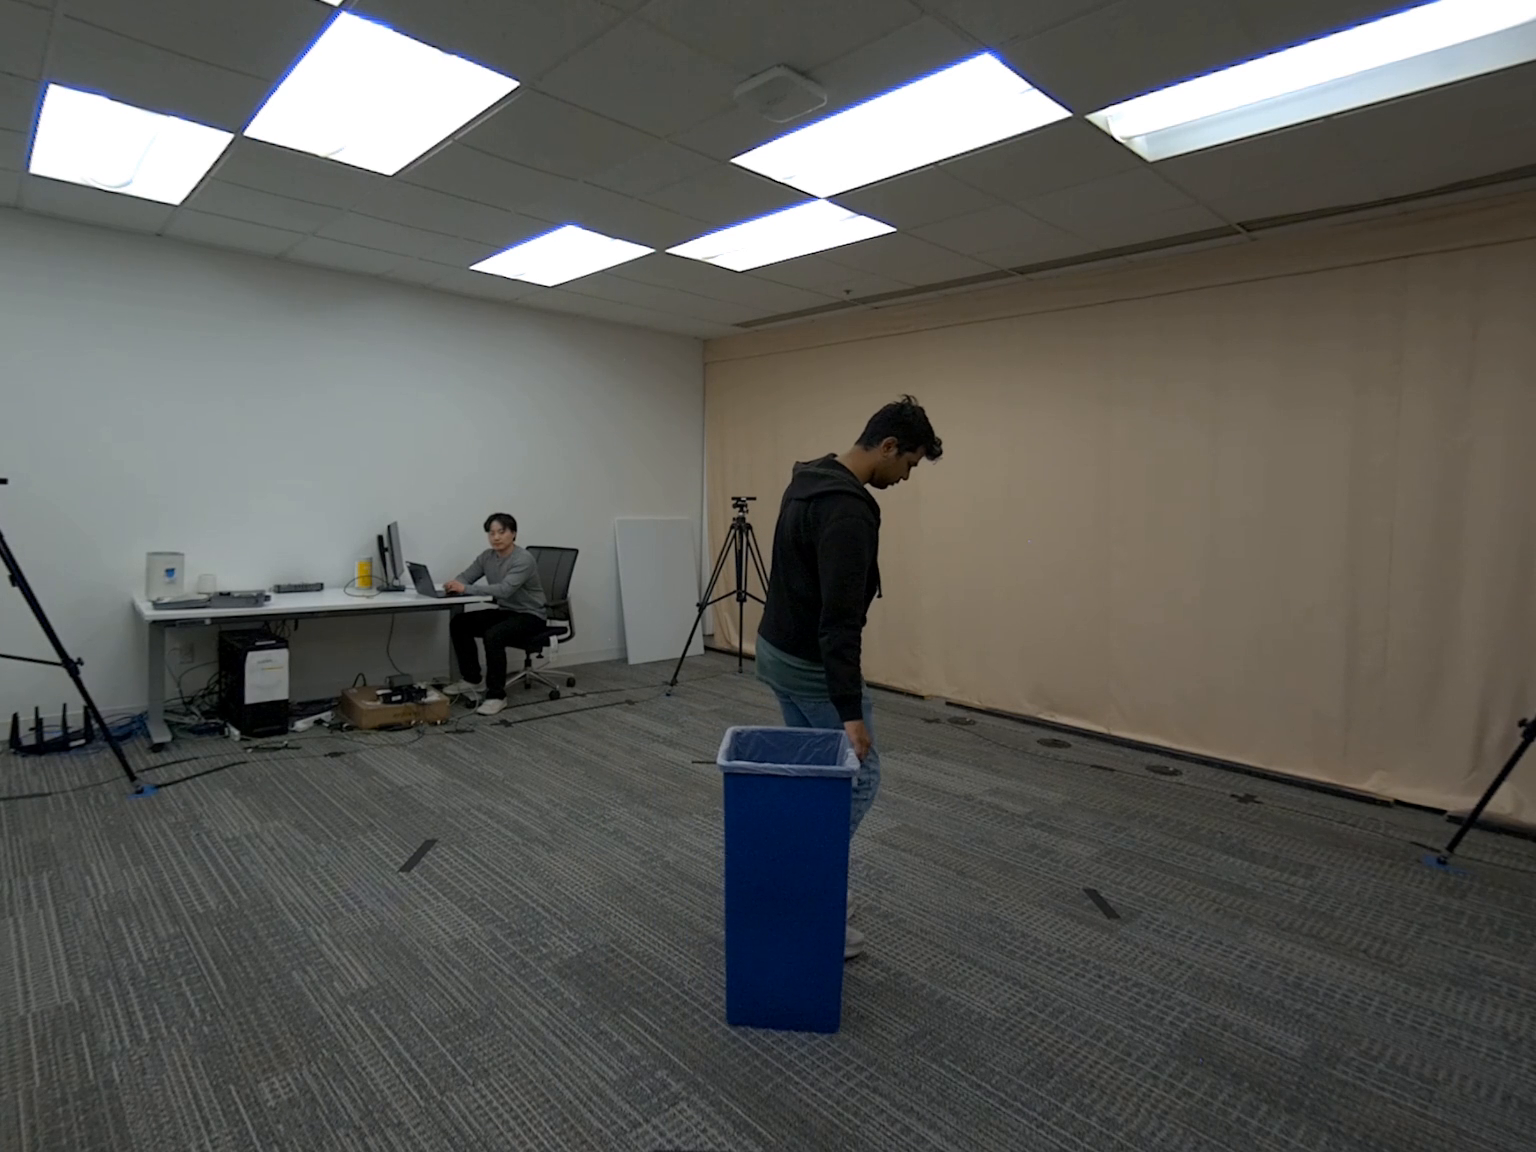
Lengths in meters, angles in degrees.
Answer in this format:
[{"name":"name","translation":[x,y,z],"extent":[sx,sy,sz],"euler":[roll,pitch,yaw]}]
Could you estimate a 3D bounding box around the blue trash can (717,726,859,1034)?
[{"name":"blue trash can","translation":[0.039,0.825,2.341],"extent":[0.379,0.711,0.374],"euler":[1,4,4]}]
